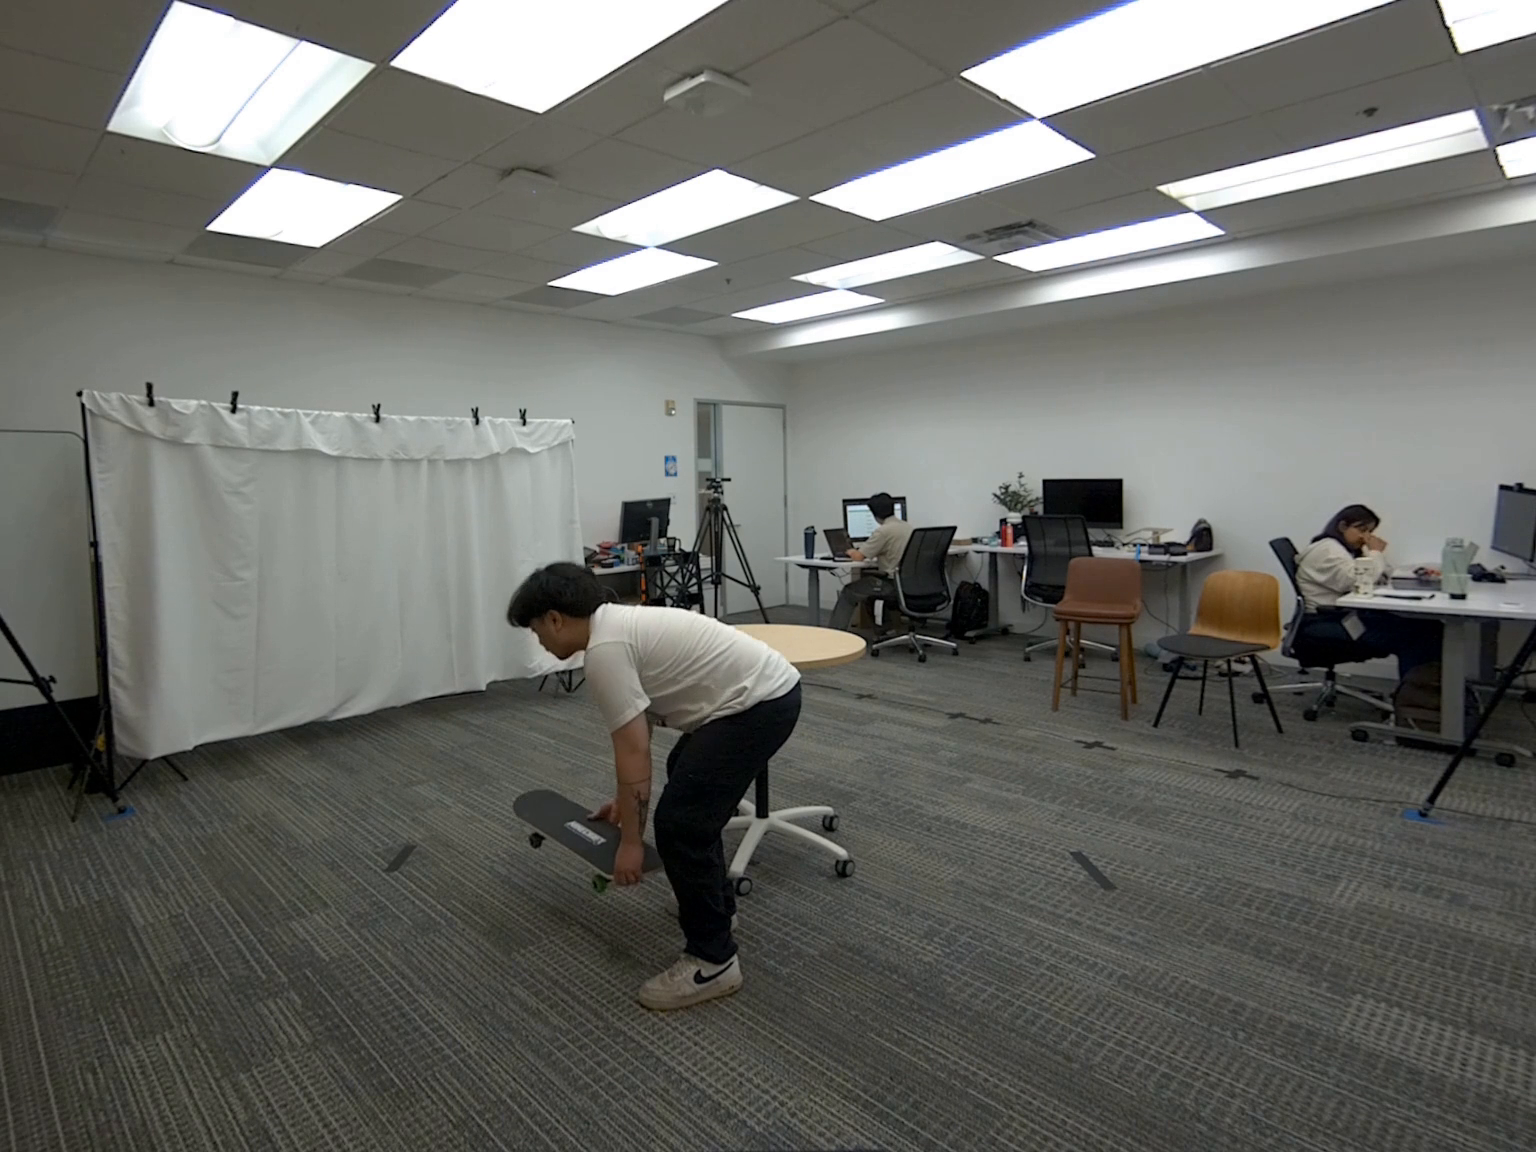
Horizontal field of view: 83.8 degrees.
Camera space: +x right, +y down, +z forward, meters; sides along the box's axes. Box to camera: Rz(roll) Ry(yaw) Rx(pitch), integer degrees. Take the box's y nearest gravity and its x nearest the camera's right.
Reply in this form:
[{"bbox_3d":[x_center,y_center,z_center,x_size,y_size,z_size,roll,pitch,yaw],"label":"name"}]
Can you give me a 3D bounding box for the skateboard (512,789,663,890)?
[{"bbox_3d":[-0.568,0.842,2.682,0.189,0.109,0.810,-10,11,-40],"label":"skateboard"}]
